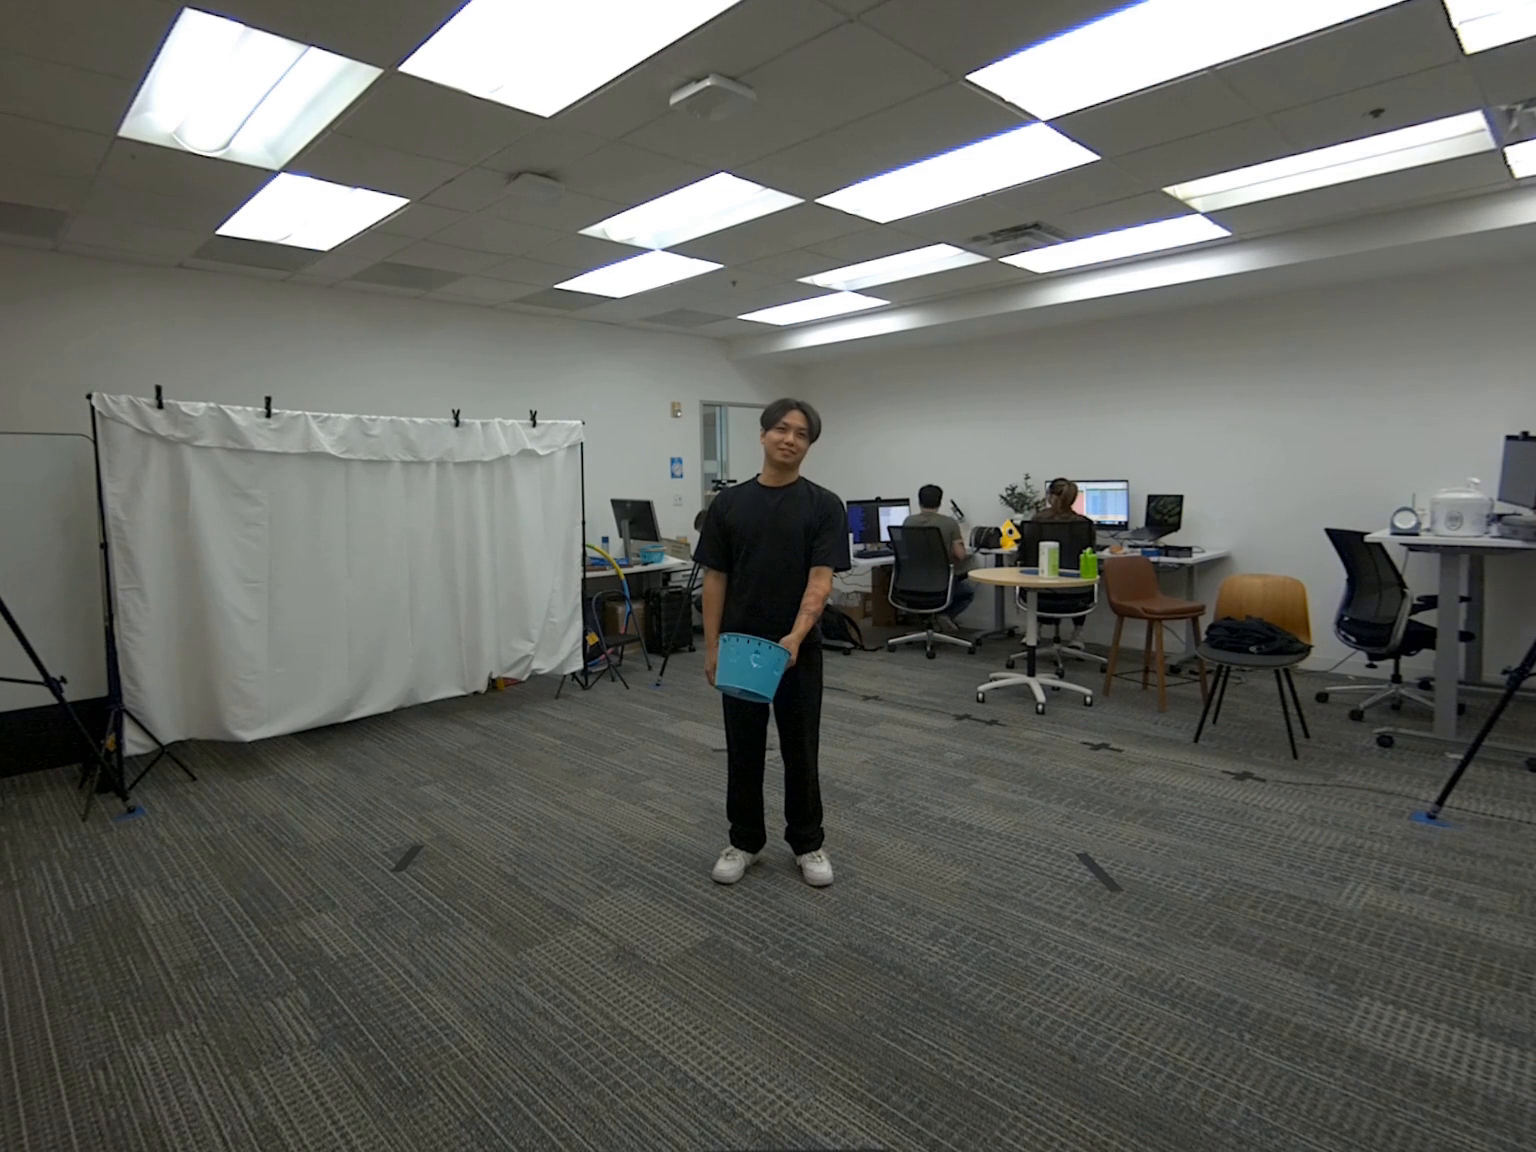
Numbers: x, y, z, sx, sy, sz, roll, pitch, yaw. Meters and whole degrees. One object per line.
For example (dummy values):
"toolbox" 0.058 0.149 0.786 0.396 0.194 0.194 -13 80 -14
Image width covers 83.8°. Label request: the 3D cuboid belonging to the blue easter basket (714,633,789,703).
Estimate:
"blue easter basket" -0.047 0.302 2.608 0.245 0.157 0.240 15 -17 3
